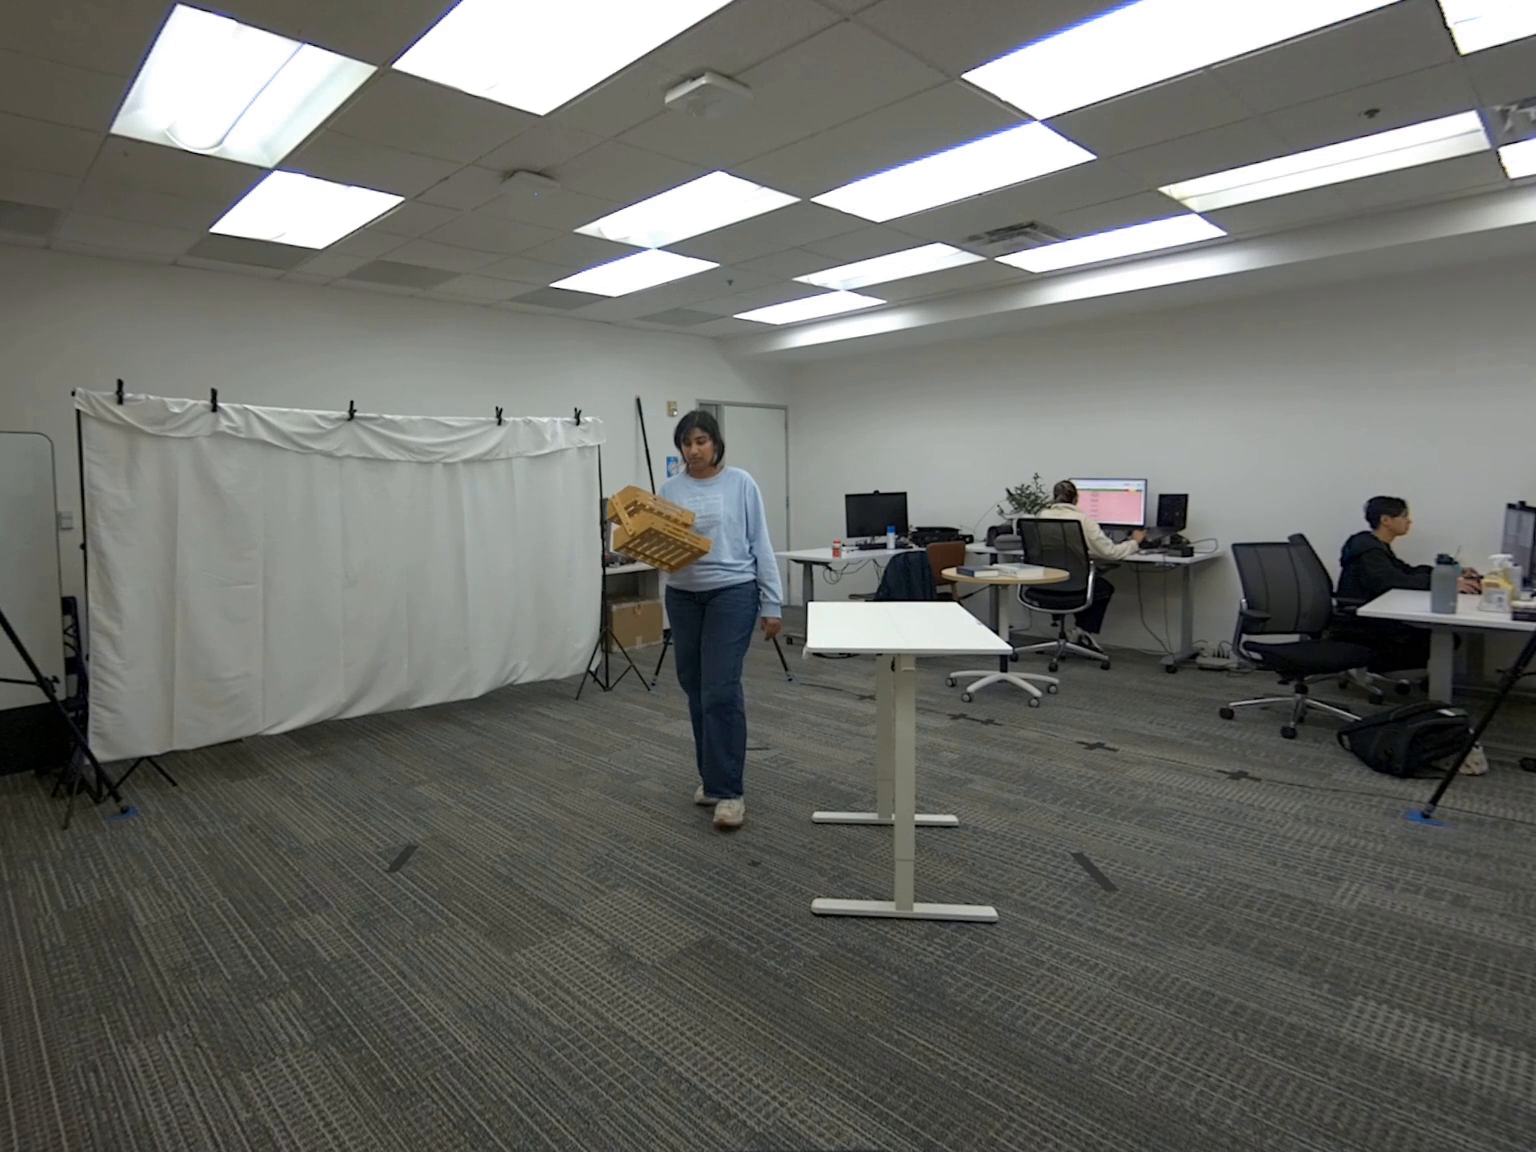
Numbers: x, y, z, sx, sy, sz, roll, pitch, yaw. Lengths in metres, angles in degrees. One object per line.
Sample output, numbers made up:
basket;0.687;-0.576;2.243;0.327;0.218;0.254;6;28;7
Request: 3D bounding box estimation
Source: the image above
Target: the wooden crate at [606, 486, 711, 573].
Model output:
wooden crate;-0.451;-0.204;3.426;0.305;0.280;0.313;-29;-38;36
